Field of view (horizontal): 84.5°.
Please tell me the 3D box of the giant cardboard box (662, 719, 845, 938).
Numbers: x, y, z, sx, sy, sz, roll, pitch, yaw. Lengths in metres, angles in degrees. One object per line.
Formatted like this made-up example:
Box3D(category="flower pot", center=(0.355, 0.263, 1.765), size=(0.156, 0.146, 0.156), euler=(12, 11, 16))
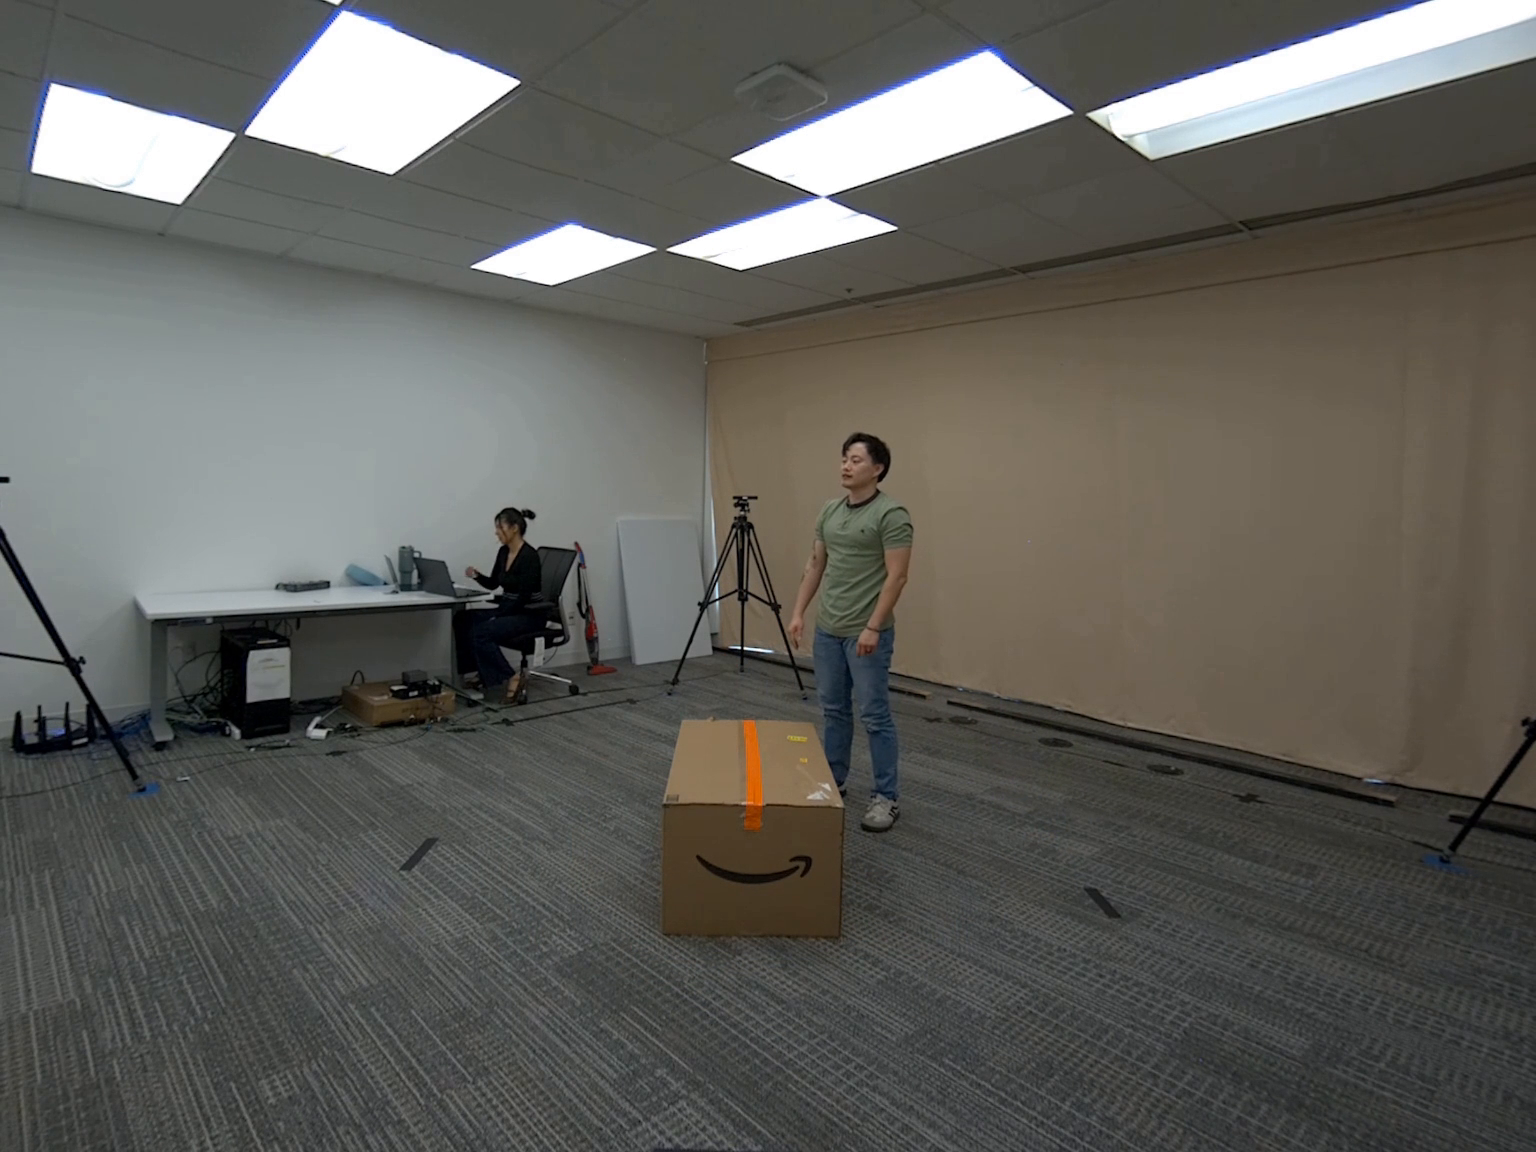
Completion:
Box3D(category="giant cardboard box", center=(-0.079, 0.884, 3.160), size=(0.577, 0.425, 1.029), euler=(2, 4, -2))
